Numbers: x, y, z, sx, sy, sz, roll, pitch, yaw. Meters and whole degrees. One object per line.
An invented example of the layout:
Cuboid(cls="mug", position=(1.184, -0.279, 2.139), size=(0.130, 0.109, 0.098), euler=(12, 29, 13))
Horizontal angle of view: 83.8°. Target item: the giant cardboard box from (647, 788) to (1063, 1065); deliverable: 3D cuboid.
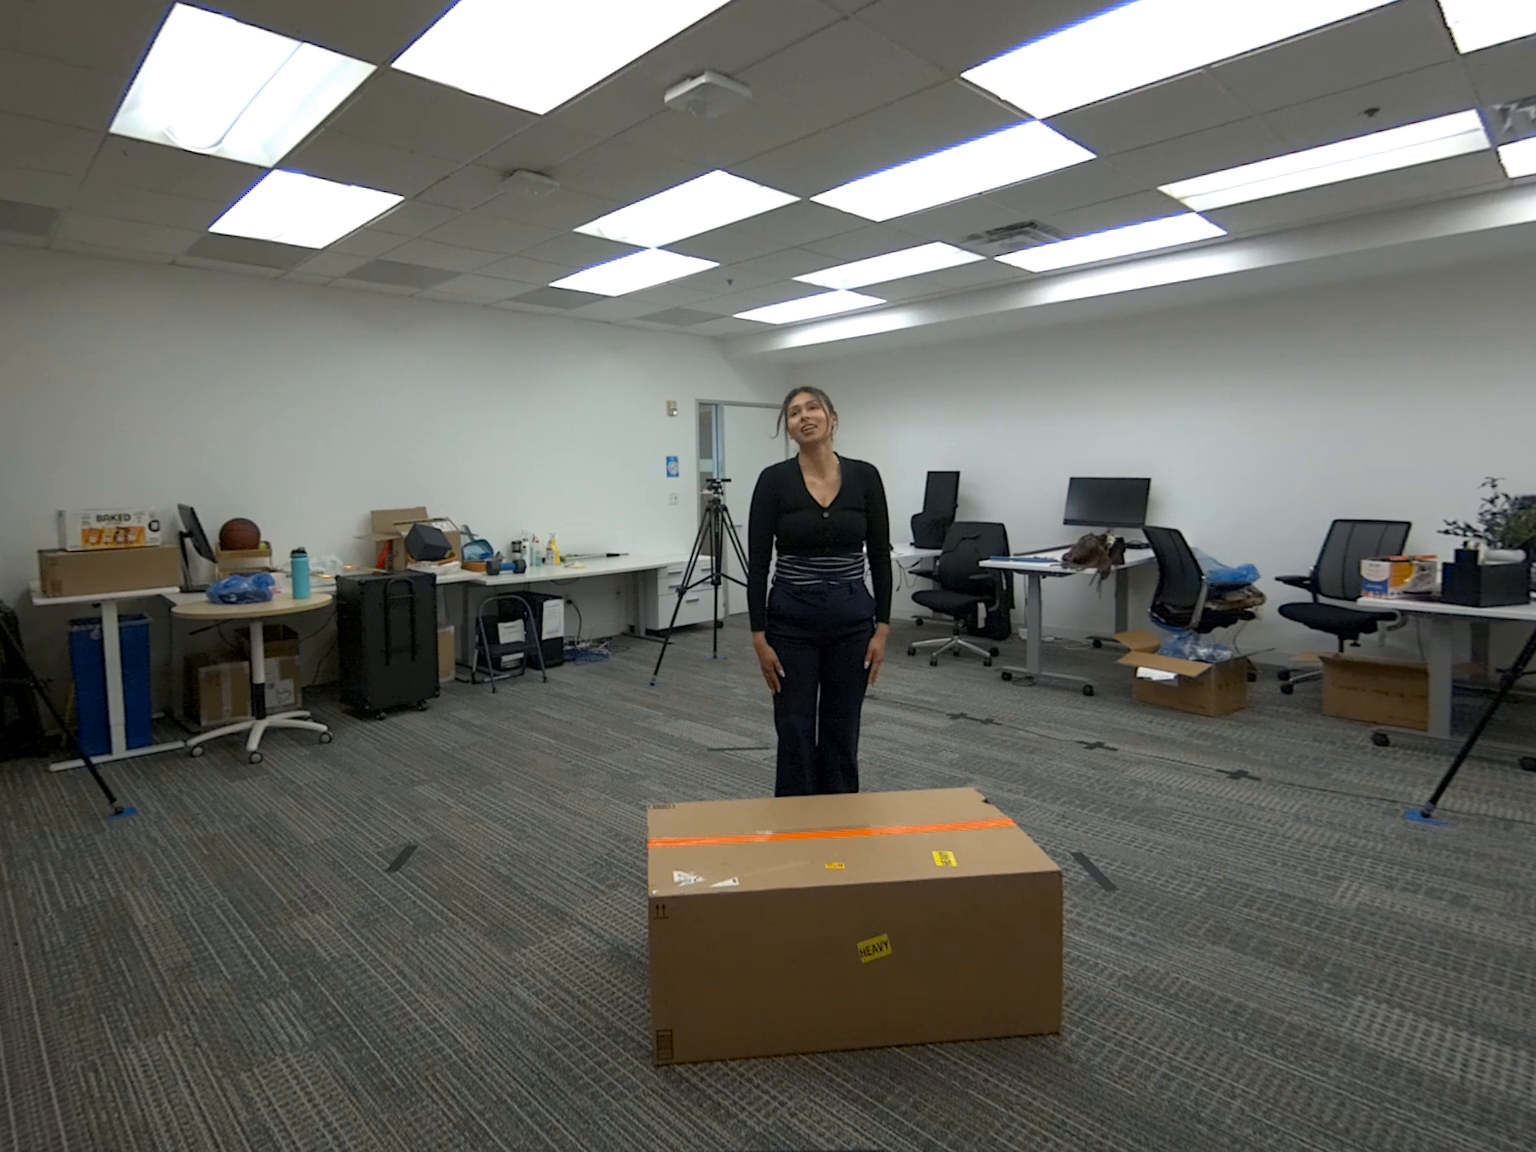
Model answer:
Cuboid(cls="giant cardboard box", position=(0.187, 0.908, 2.354), size=(1.020, 0.424, 0.583), euler=(-2, 5, -6))
